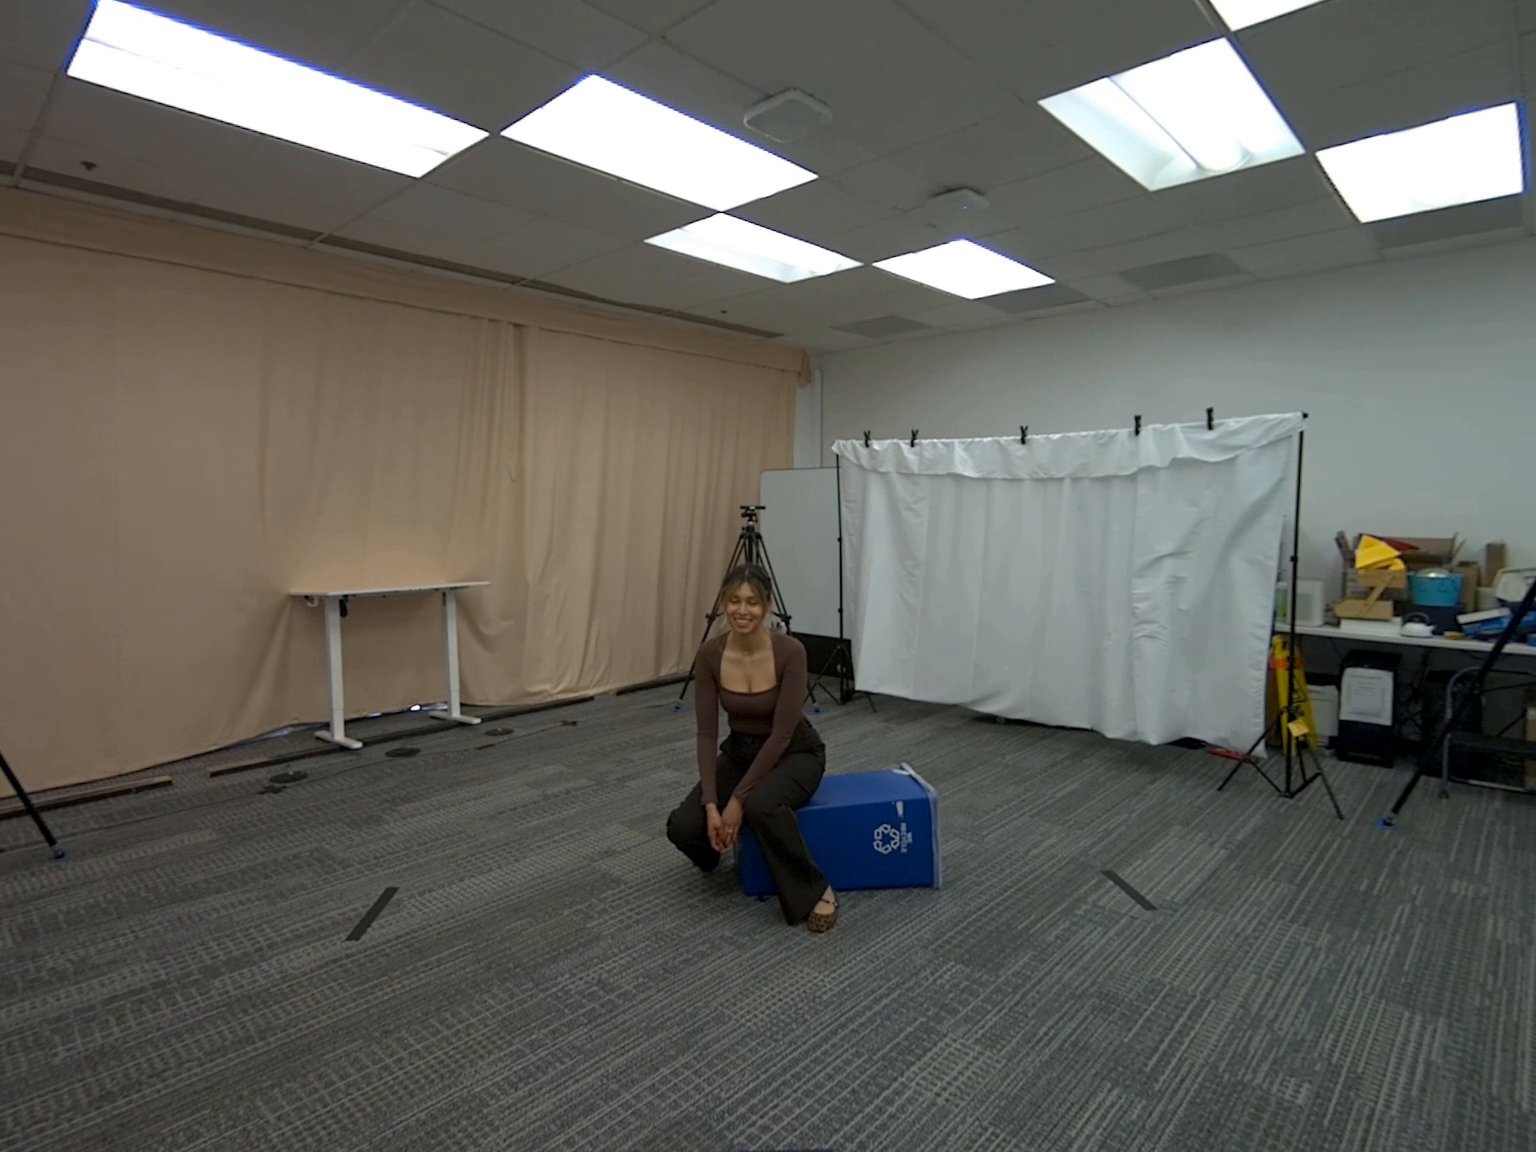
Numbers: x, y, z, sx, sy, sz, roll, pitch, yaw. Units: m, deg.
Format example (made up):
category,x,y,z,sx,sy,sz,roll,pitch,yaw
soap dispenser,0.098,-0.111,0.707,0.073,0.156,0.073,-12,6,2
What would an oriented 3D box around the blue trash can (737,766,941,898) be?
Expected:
category,x,y,z,sx,sy,sz,roll,pitch,yaw
blue trash can,0.248,0.963,3.157,0.708,0.377,0.378,-4,5,-8
